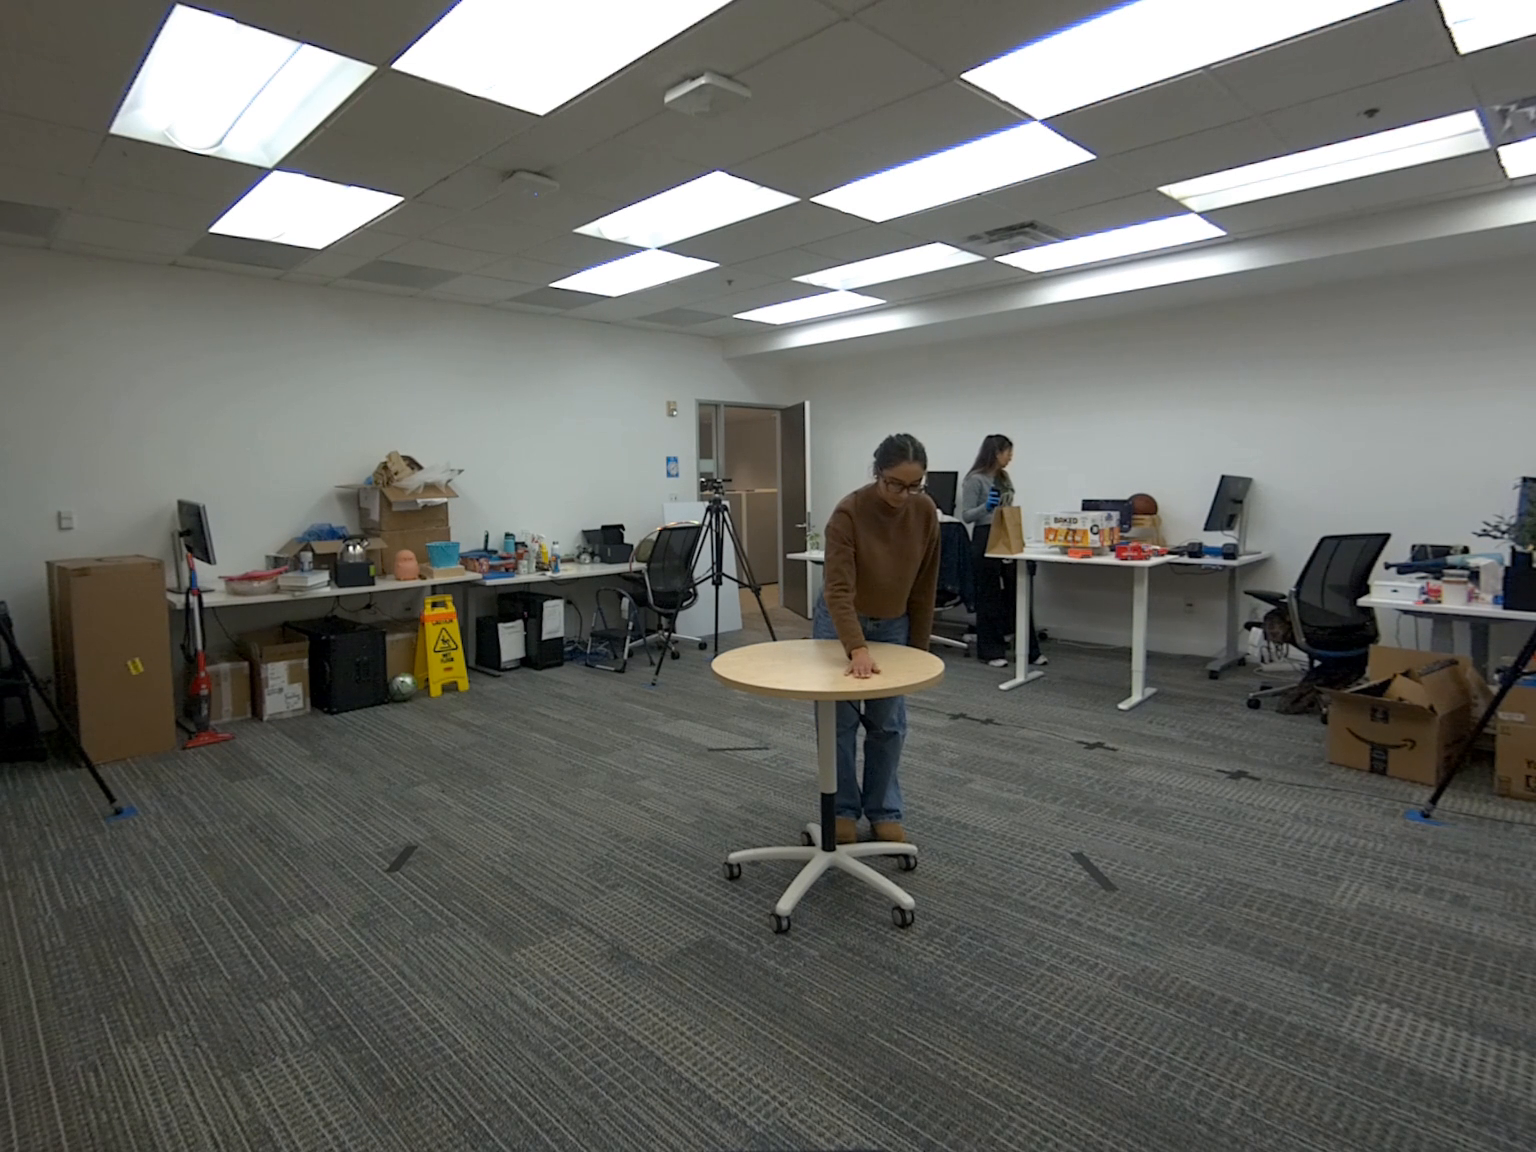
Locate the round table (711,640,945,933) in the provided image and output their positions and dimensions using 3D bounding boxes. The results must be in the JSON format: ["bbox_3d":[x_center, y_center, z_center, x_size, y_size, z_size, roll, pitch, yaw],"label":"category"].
[{"bbox_3d":[0.205,0.679,2.871,0.763,0.791,0.768,-1,5,-2],"label":"round table"}]
